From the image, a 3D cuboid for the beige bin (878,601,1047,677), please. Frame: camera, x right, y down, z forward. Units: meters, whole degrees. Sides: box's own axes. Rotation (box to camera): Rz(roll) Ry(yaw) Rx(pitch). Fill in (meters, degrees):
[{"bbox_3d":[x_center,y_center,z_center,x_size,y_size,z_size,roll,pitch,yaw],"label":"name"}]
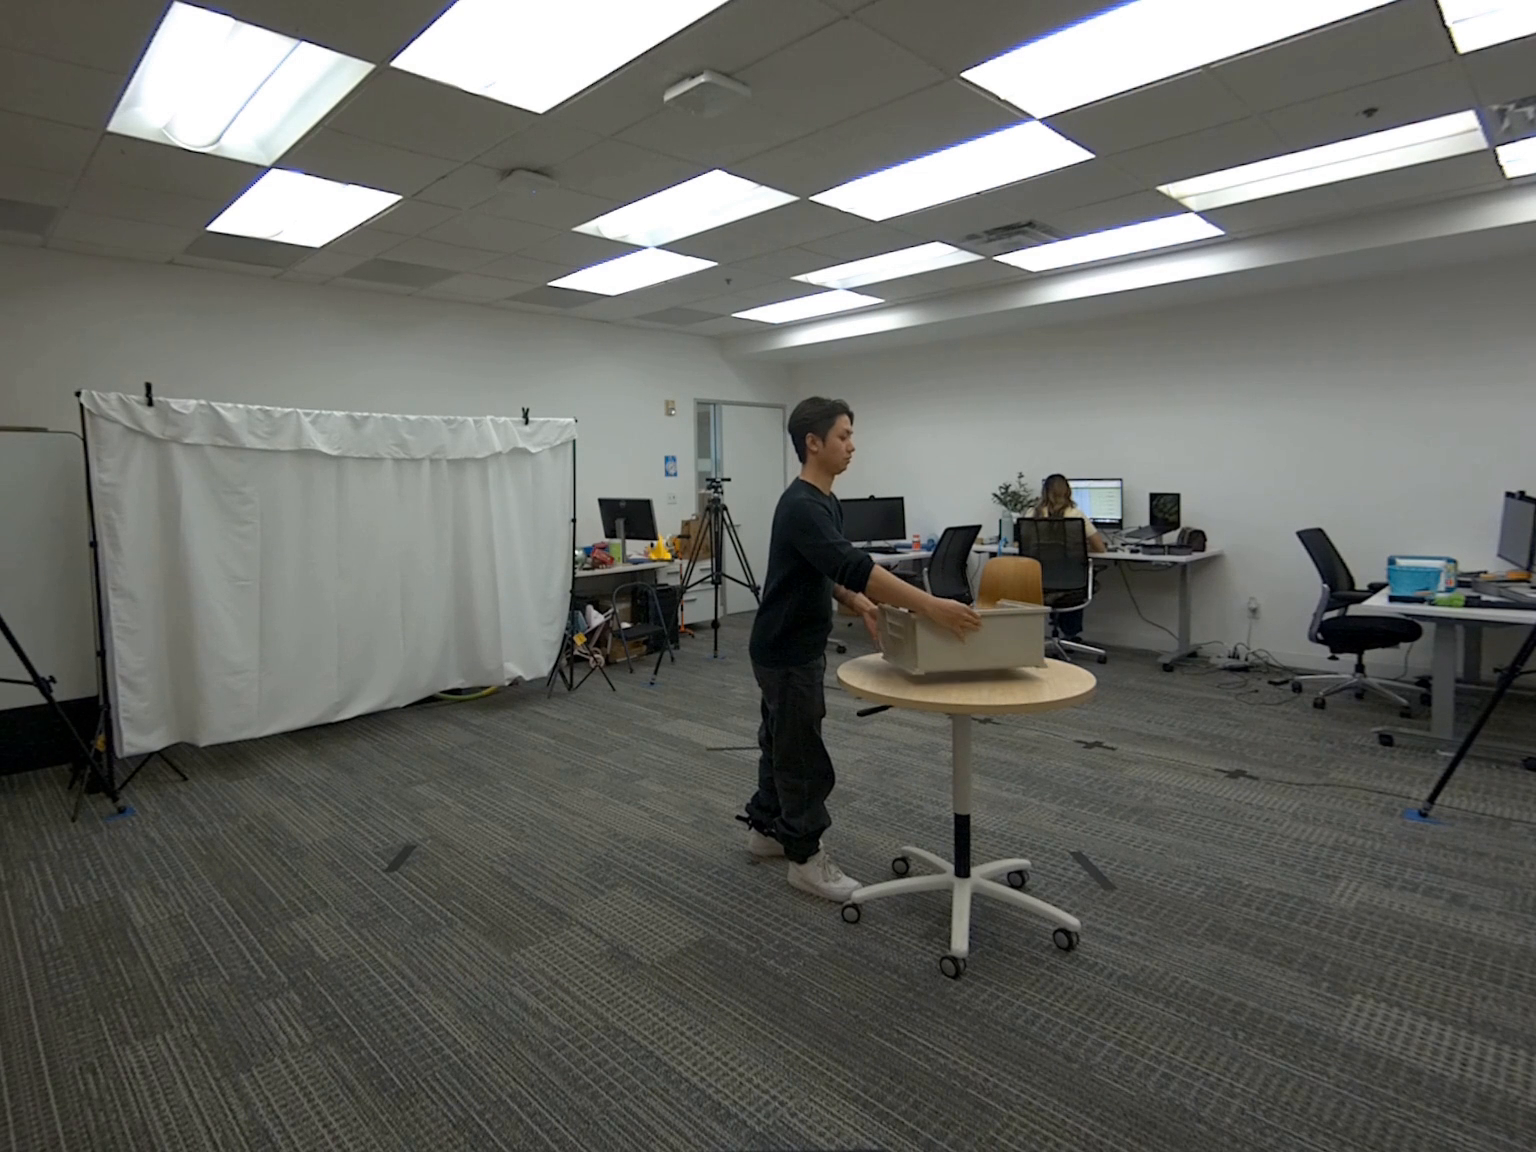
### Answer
[{"bbox_3d":[0.606,0.183,2.640,0.420,0.188,0.380,-2,3,-5],"label":"beige bin"}]
